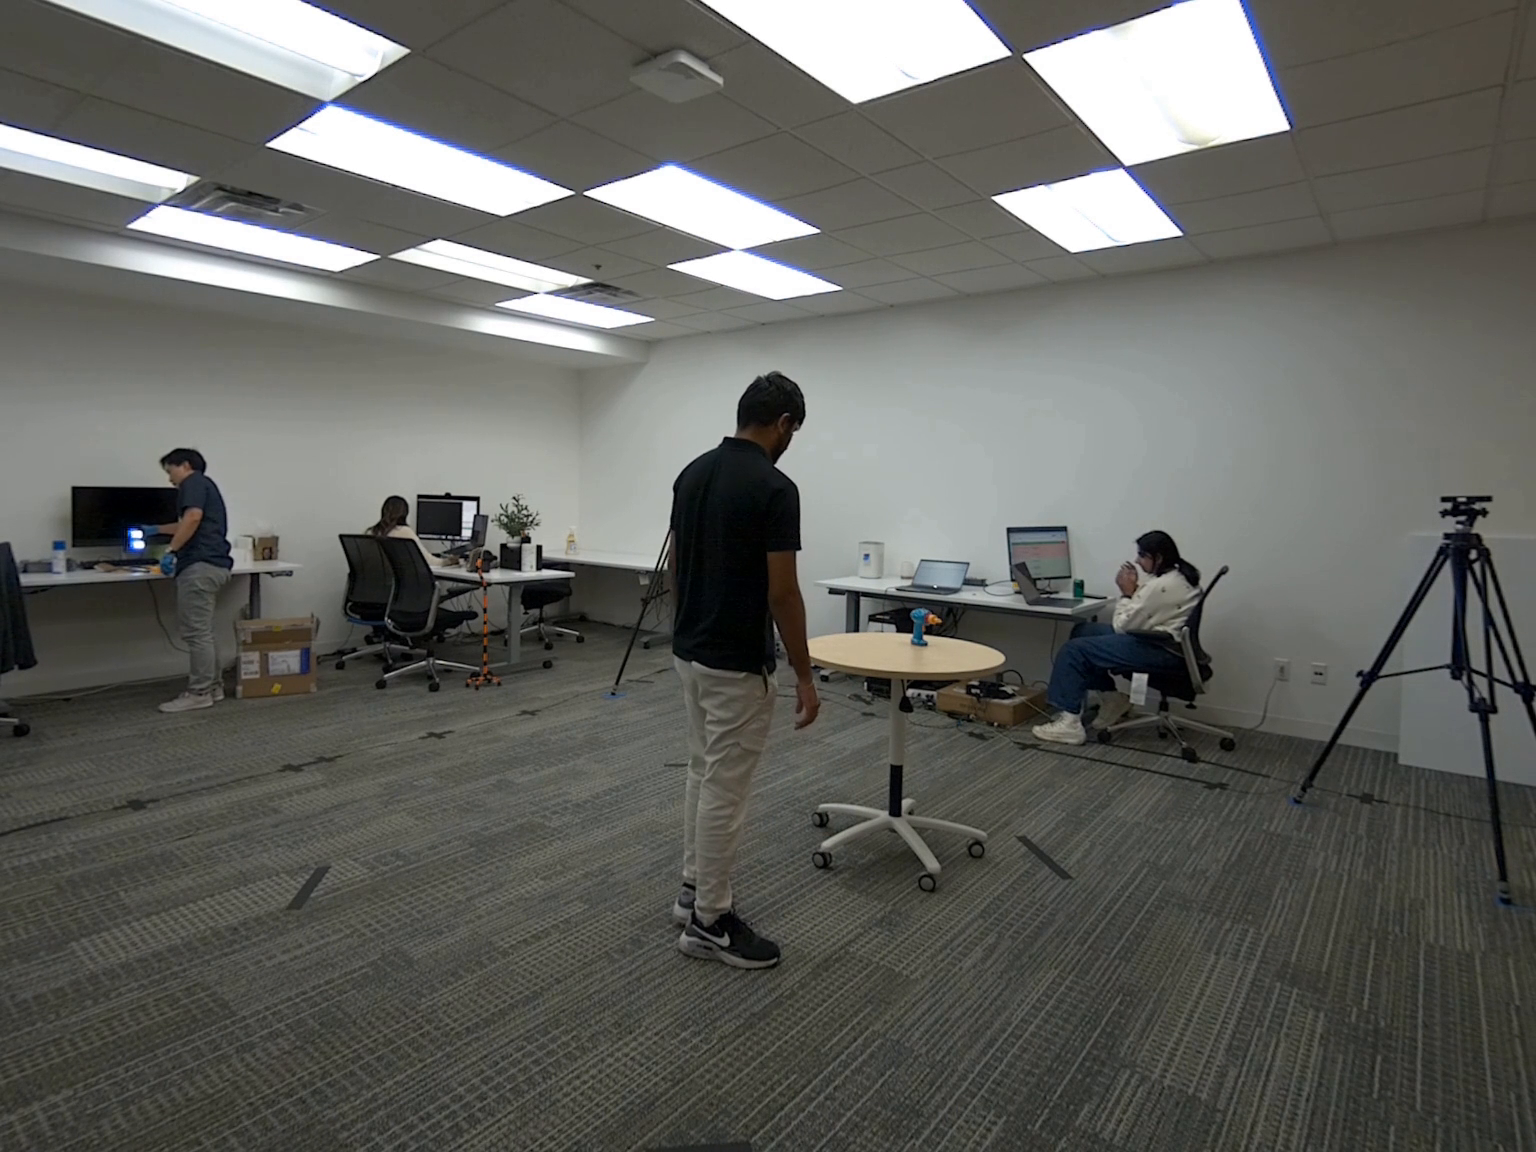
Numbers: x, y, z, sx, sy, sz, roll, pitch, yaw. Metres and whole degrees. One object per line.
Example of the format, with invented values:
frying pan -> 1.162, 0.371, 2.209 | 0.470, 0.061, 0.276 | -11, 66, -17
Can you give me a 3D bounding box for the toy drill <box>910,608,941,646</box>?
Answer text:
toy drill -> 0.619, 0.202, 3.349 | 0.059, 0.145, 0.175 | 2, 5, -30
